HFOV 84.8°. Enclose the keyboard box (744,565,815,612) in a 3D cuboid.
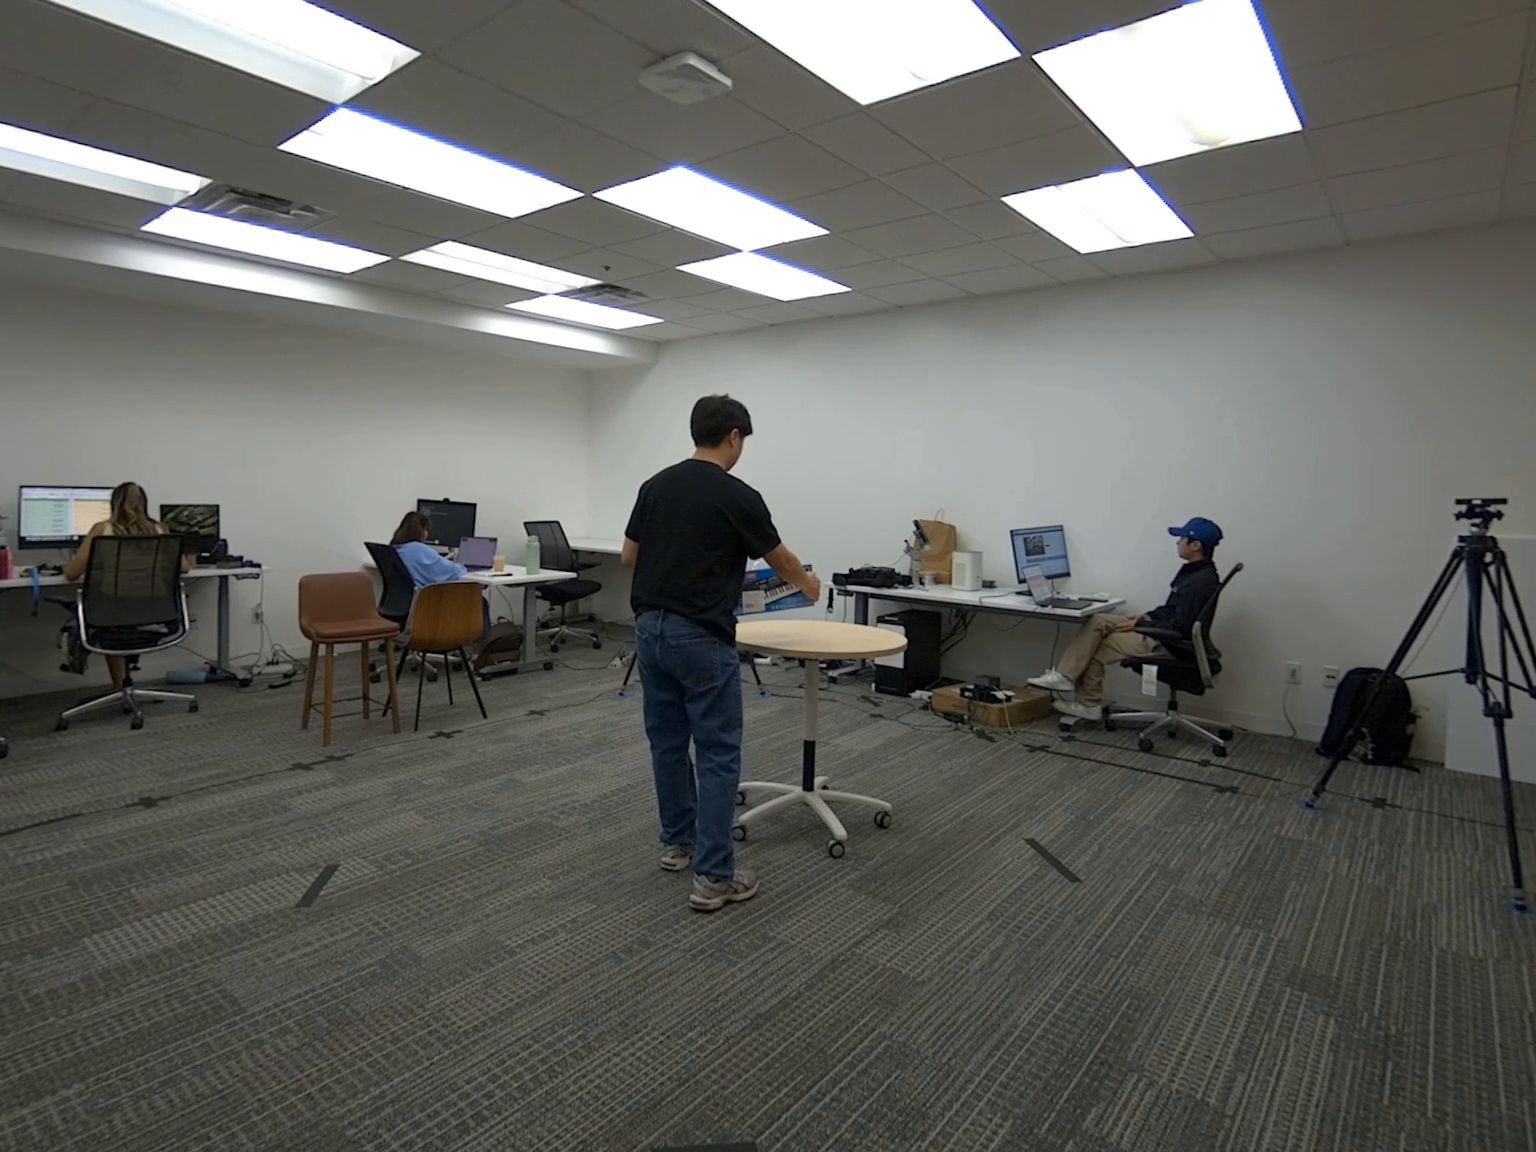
[{"bbox_3d":[-0.015,0.054,3.352,0.426,0.176,0.060,-6,1,-29],"label":"keyboard box"}]
